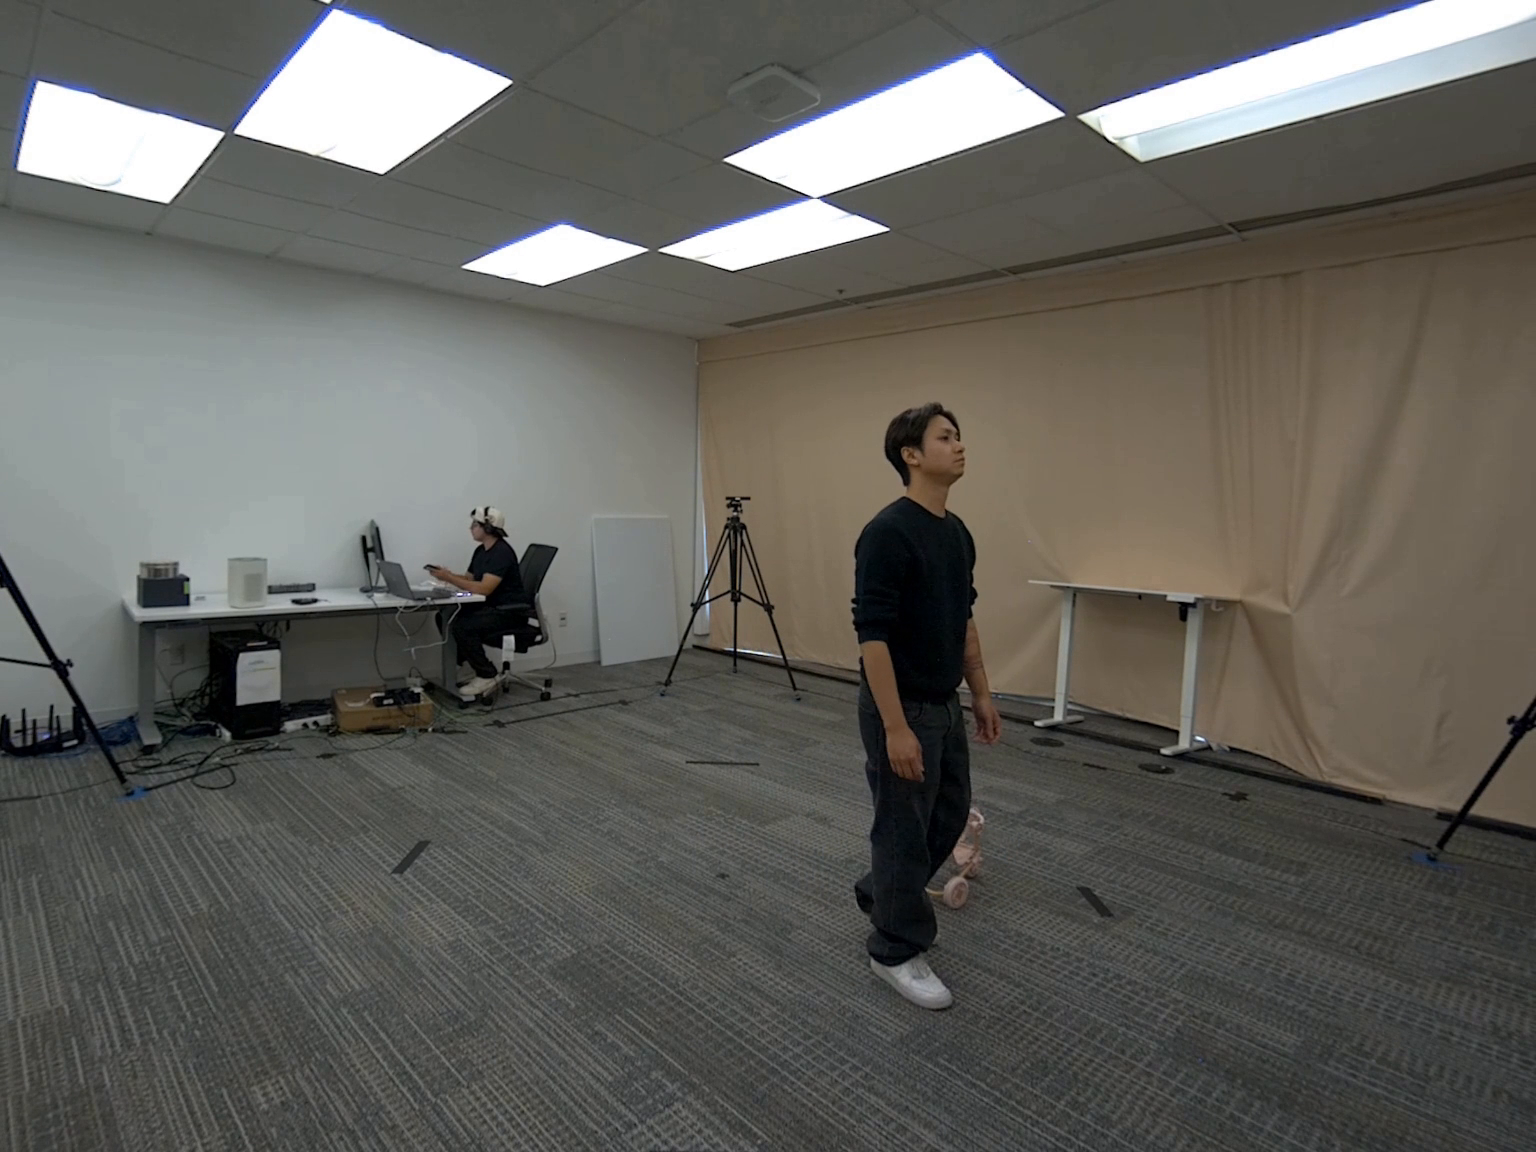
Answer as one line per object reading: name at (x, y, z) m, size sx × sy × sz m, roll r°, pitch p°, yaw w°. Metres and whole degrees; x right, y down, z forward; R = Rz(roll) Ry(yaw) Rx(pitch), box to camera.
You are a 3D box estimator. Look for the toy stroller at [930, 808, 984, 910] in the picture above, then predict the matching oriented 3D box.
toy stroller at (0.619, 0.909, 3.019) m, size 0.337 × 0.529 × 0.288 m, roll -21°, pitch 16°, yaw -33°
